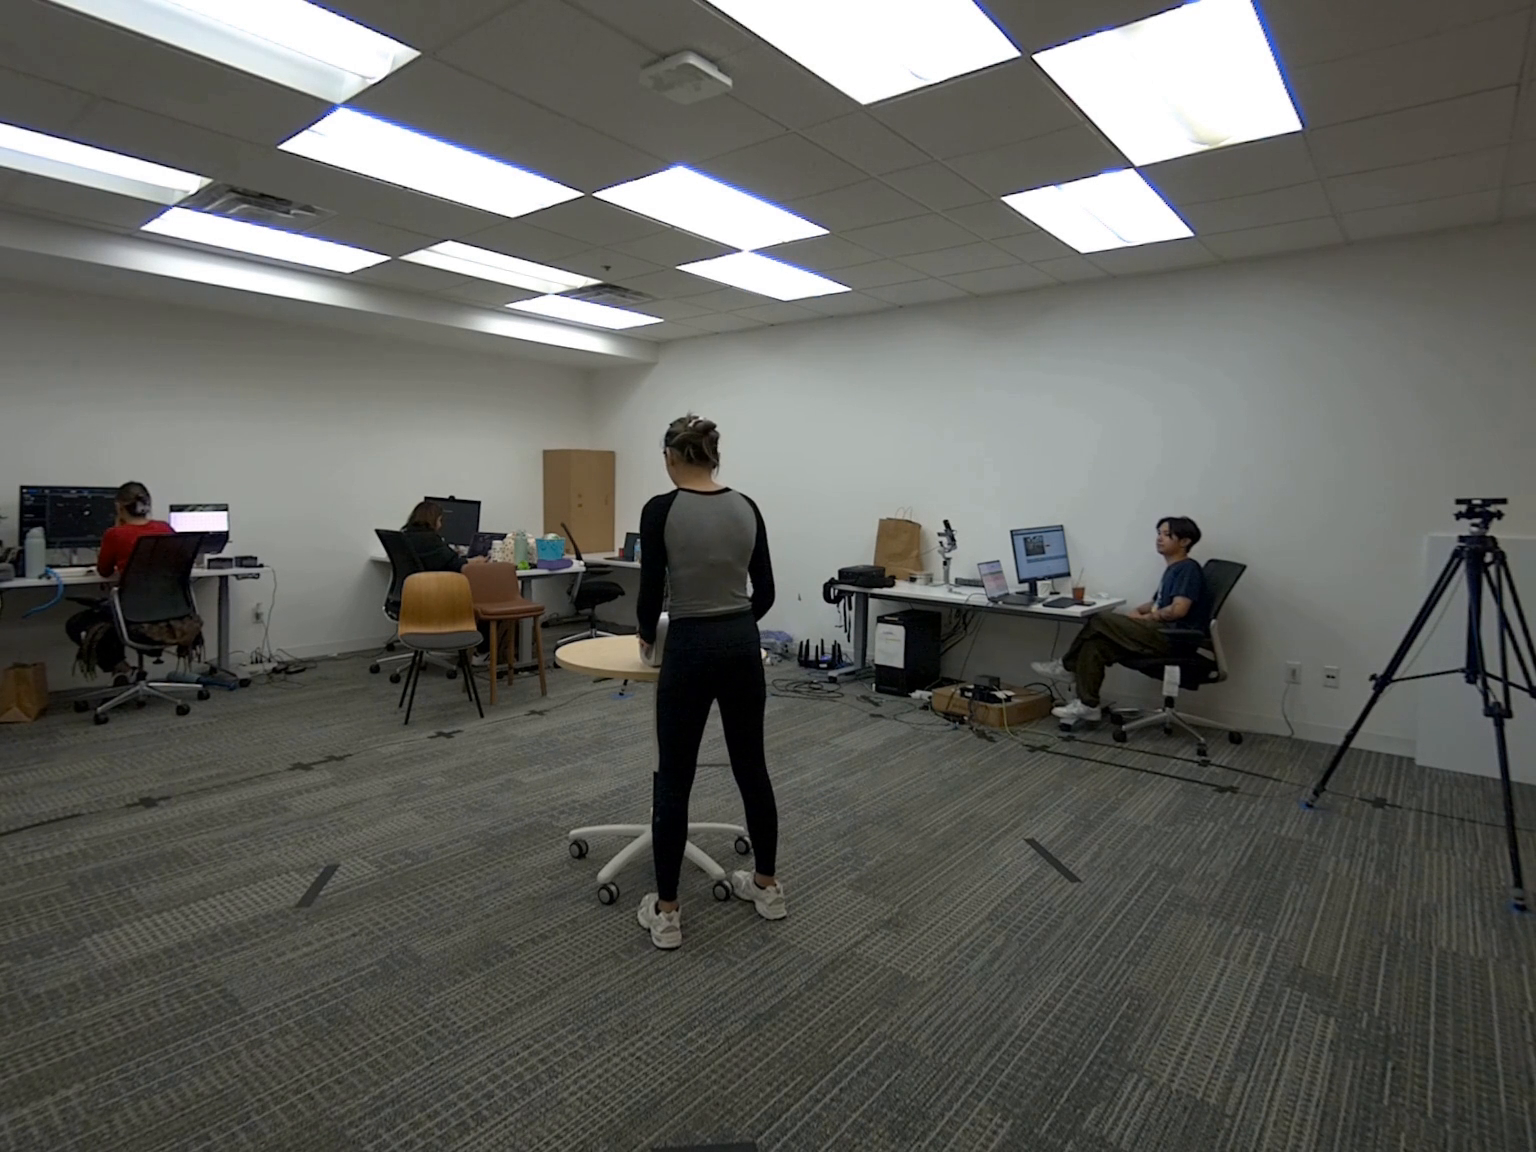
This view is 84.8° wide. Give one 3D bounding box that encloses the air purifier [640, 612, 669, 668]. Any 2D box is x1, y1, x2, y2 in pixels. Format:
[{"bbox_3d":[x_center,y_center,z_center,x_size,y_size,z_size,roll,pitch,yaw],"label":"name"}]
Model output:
[{"bbox_3d":[-0.299,0.204,2.903,0.259,0.171,0.176,-2,4,-25],"label":"air purifier"}]
